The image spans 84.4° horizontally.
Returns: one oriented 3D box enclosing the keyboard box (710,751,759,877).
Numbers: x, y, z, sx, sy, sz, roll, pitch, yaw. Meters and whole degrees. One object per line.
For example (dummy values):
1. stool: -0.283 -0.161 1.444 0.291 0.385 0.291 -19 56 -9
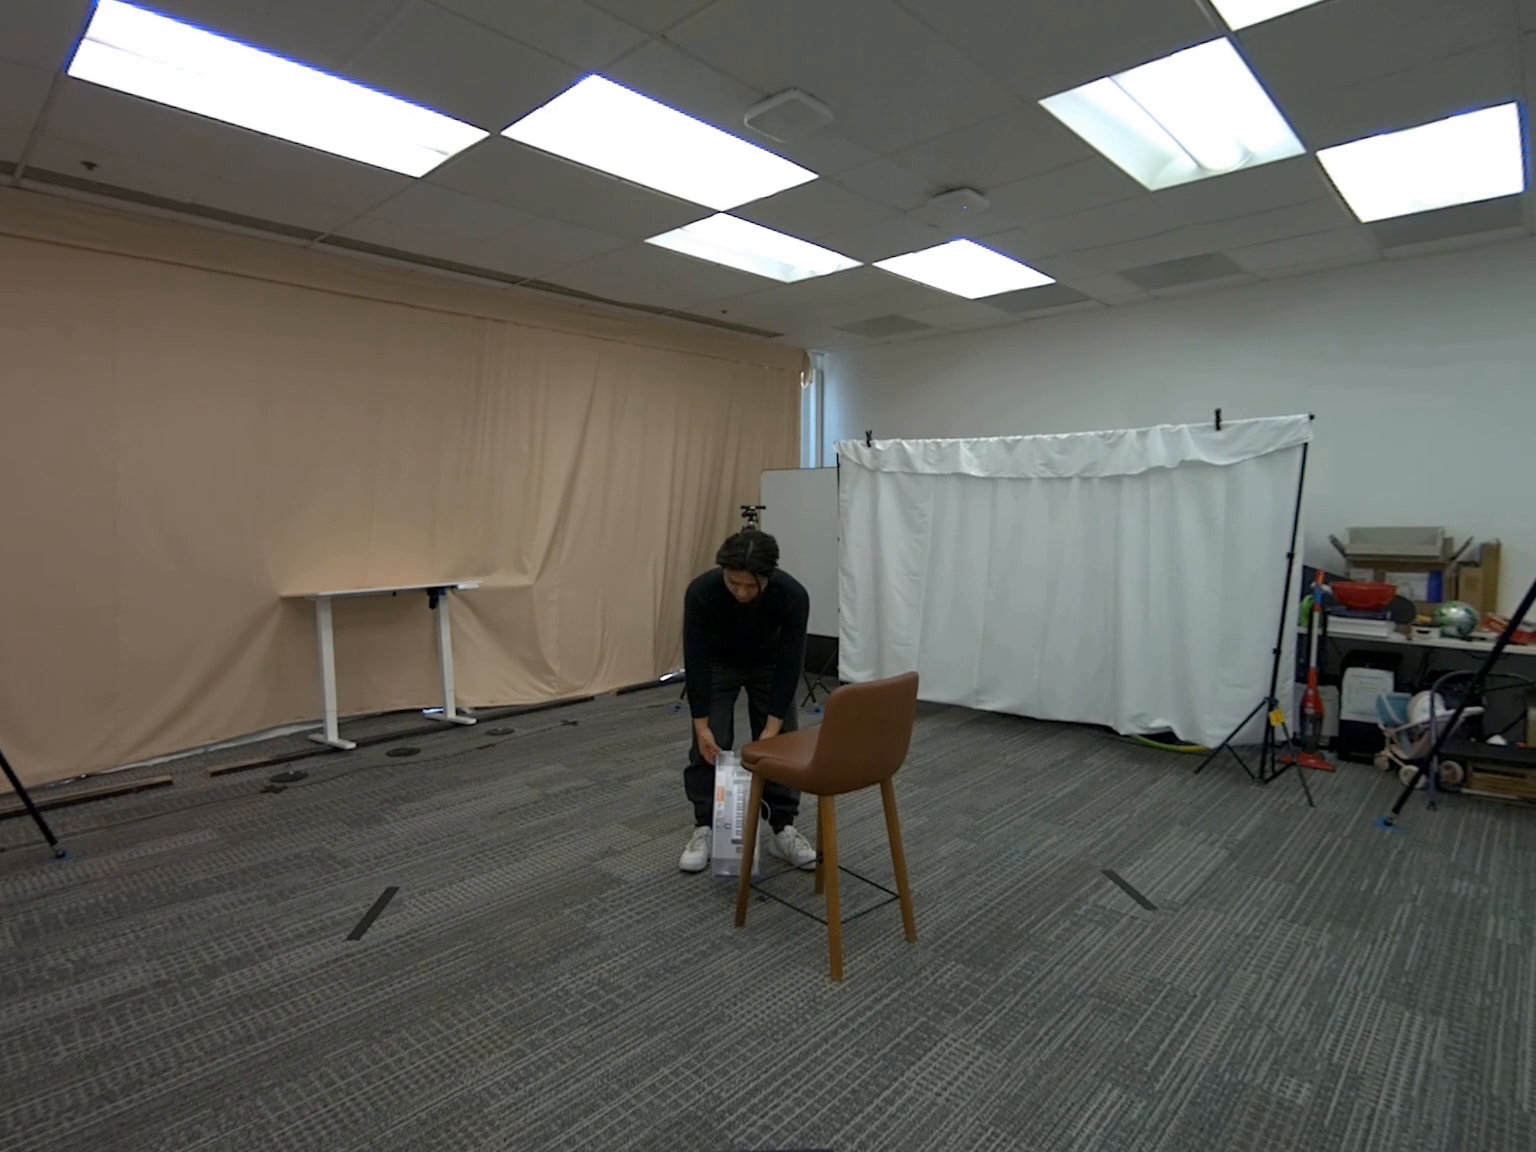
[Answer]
1. keyboard box: -0.109 0.859 3.080 0.177 0.443 0.058 0 -25 4
